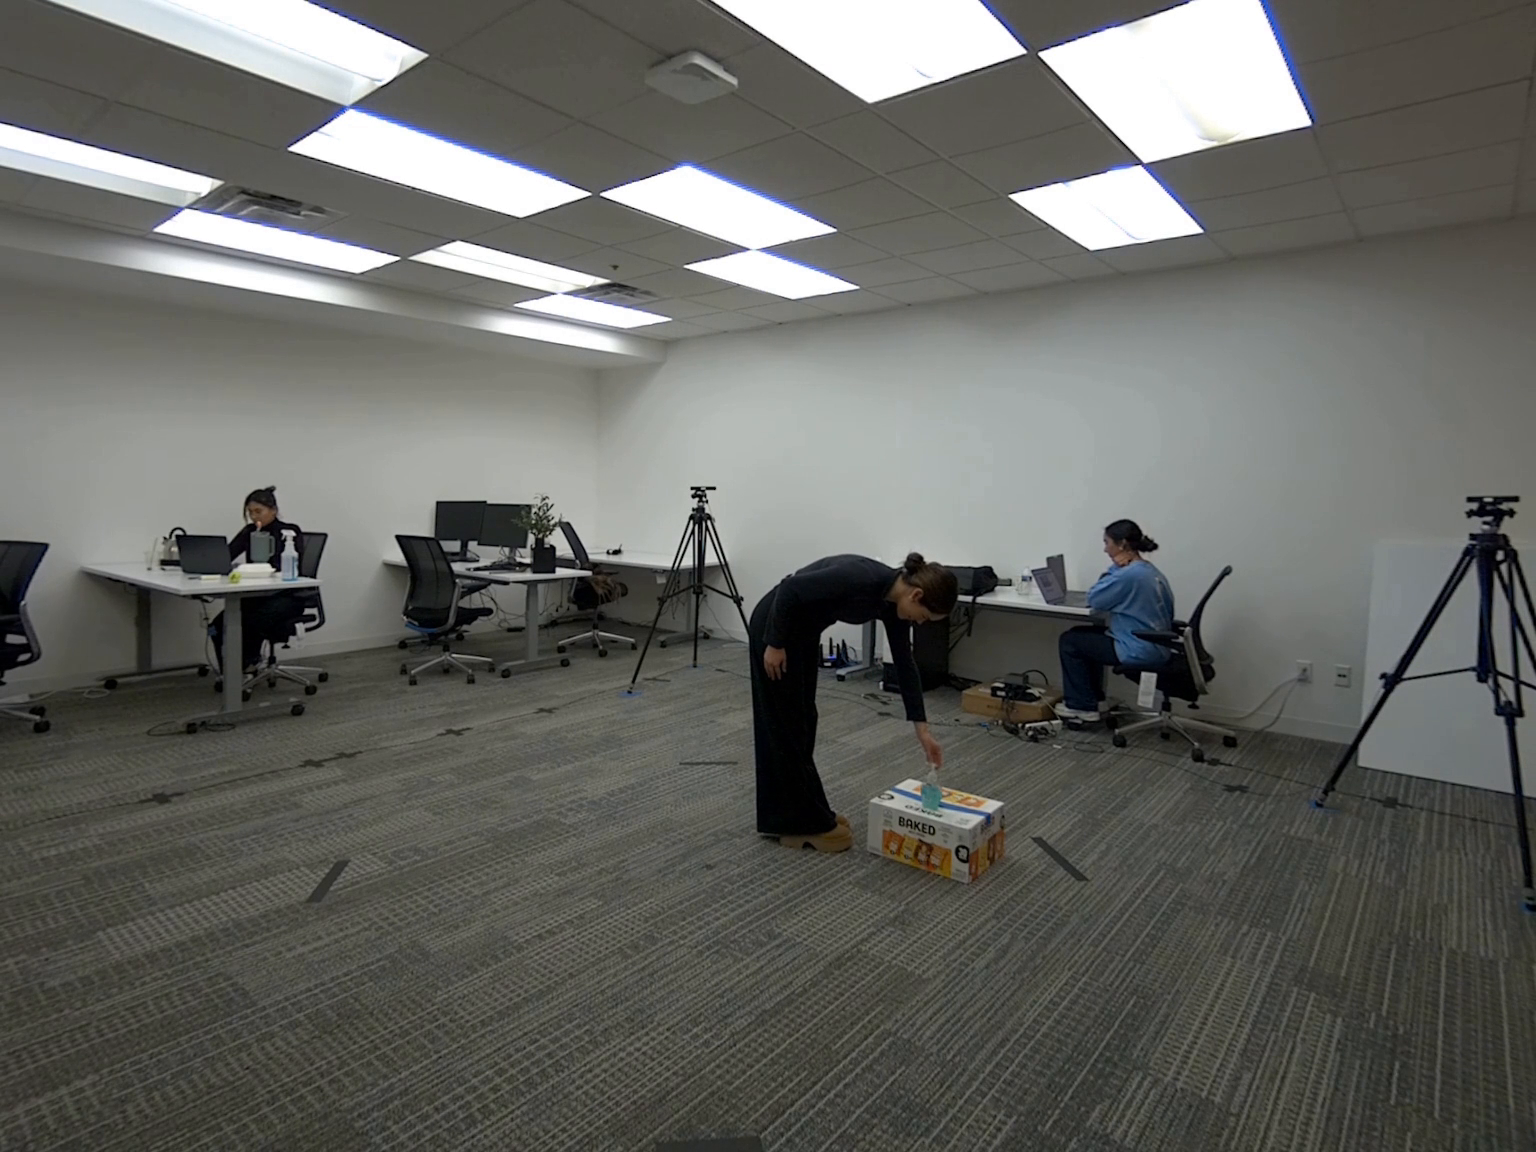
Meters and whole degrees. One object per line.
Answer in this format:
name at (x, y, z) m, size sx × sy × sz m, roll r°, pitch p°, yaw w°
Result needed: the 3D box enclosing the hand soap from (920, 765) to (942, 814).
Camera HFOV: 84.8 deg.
hand soap at (0.608, 0.788, 3.226) m, size 0.087 × 0.168 × 0.042 m, roll 7°, pitch 4°, yaw 44°
